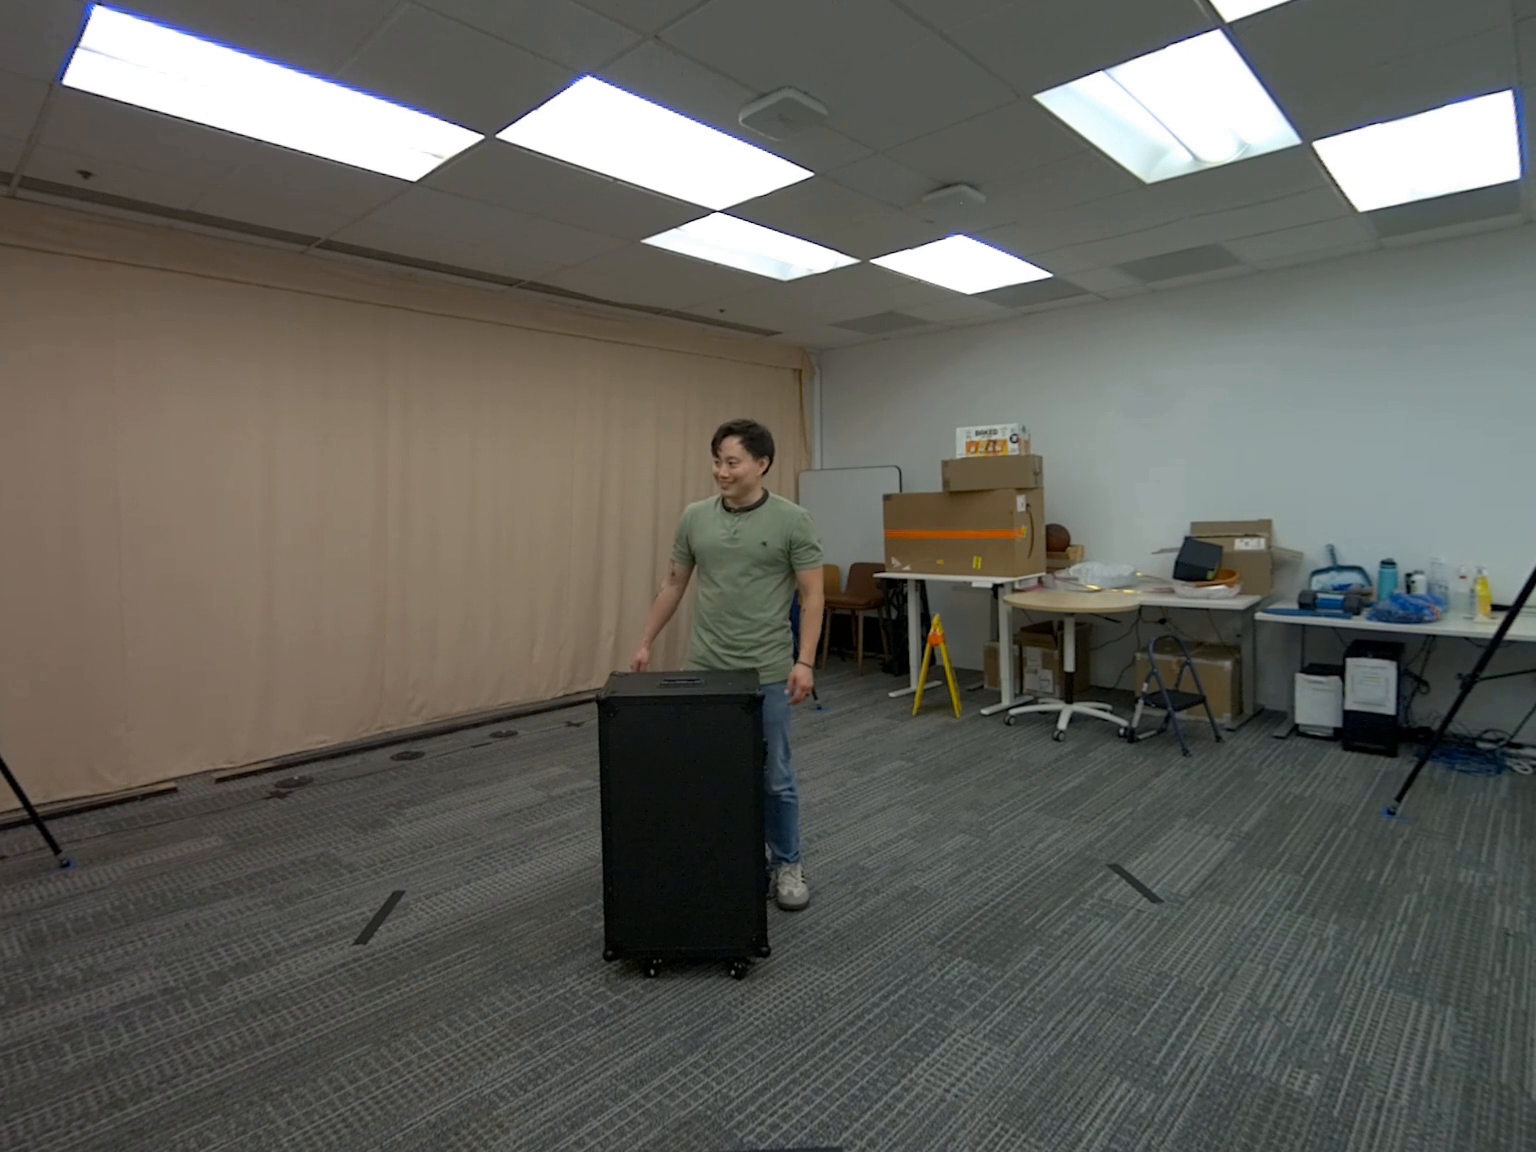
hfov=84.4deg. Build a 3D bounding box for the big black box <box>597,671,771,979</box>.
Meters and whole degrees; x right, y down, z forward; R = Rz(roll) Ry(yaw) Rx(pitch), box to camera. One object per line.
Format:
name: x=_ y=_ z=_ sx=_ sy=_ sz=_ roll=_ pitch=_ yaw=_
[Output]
big black box: x=-0.262 y=0.751 z=2.623 sx=0.521 sy=0.860 sz=0.397 roll=-1 pitch=2 yaw=-1
